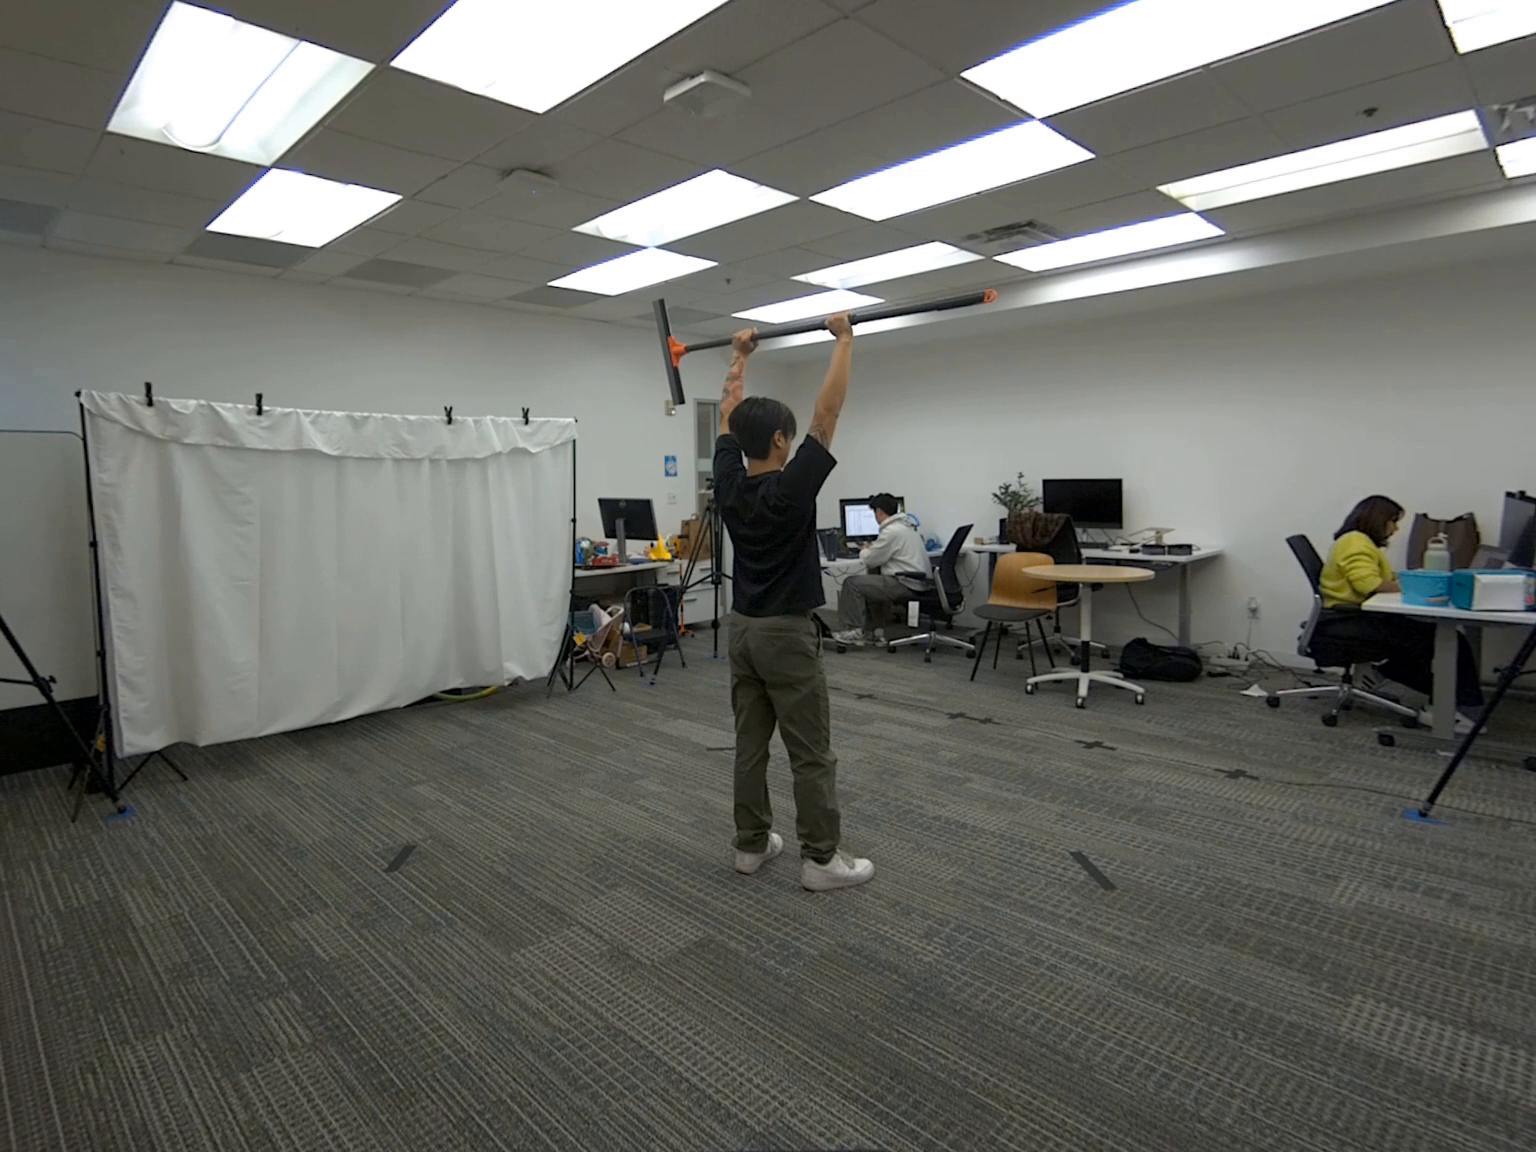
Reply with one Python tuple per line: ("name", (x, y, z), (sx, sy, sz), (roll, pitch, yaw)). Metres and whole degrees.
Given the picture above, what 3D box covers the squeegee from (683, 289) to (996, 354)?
("squeegee", (0.107, -0.849, 2.960), (0.052, 0.432, 1.587), (-17, 16, -39))
